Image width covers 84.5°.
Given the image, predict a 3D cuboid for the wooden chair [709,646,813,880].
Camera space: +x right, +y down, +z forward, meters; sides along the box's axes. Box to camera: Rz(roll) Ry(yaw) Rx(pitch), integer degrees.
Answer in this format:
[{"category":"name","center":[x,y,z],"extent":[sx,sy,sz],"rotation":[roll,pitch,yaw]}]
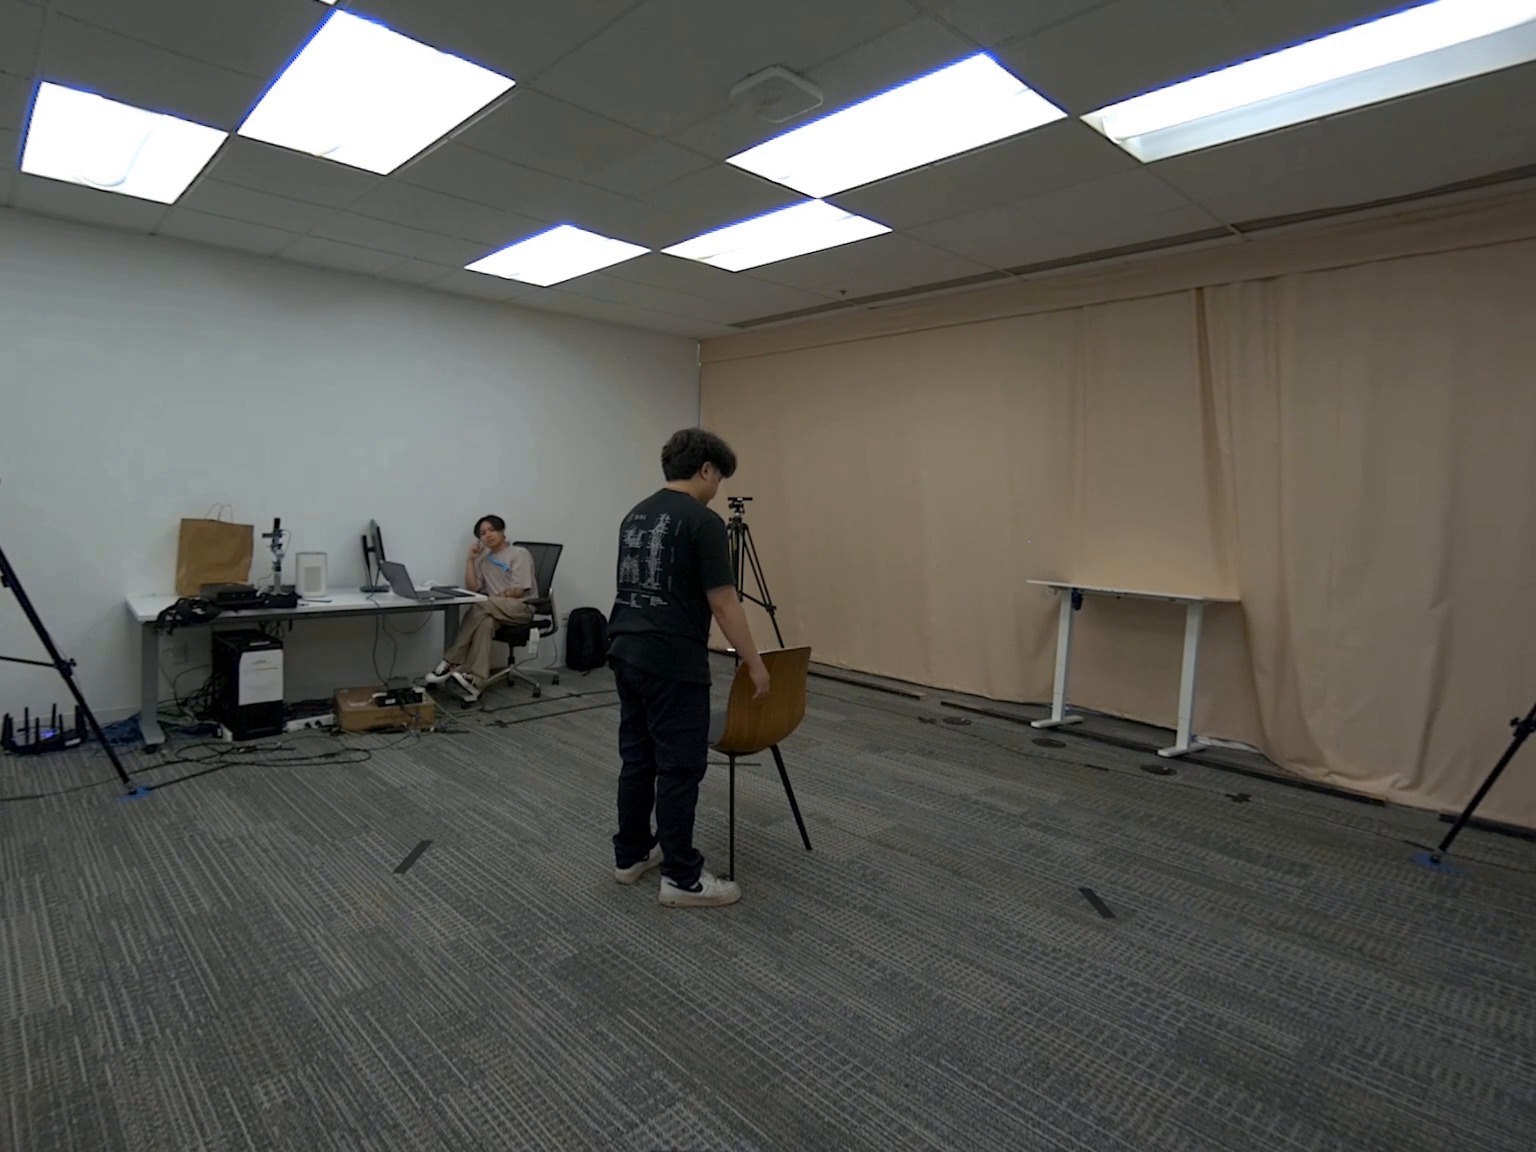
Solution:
[{"category":"wooden chair","center":[-0.142,0.660,3.336],"extent":[0.537,0.873,0.467],"rotation":[10,9,43]}]
